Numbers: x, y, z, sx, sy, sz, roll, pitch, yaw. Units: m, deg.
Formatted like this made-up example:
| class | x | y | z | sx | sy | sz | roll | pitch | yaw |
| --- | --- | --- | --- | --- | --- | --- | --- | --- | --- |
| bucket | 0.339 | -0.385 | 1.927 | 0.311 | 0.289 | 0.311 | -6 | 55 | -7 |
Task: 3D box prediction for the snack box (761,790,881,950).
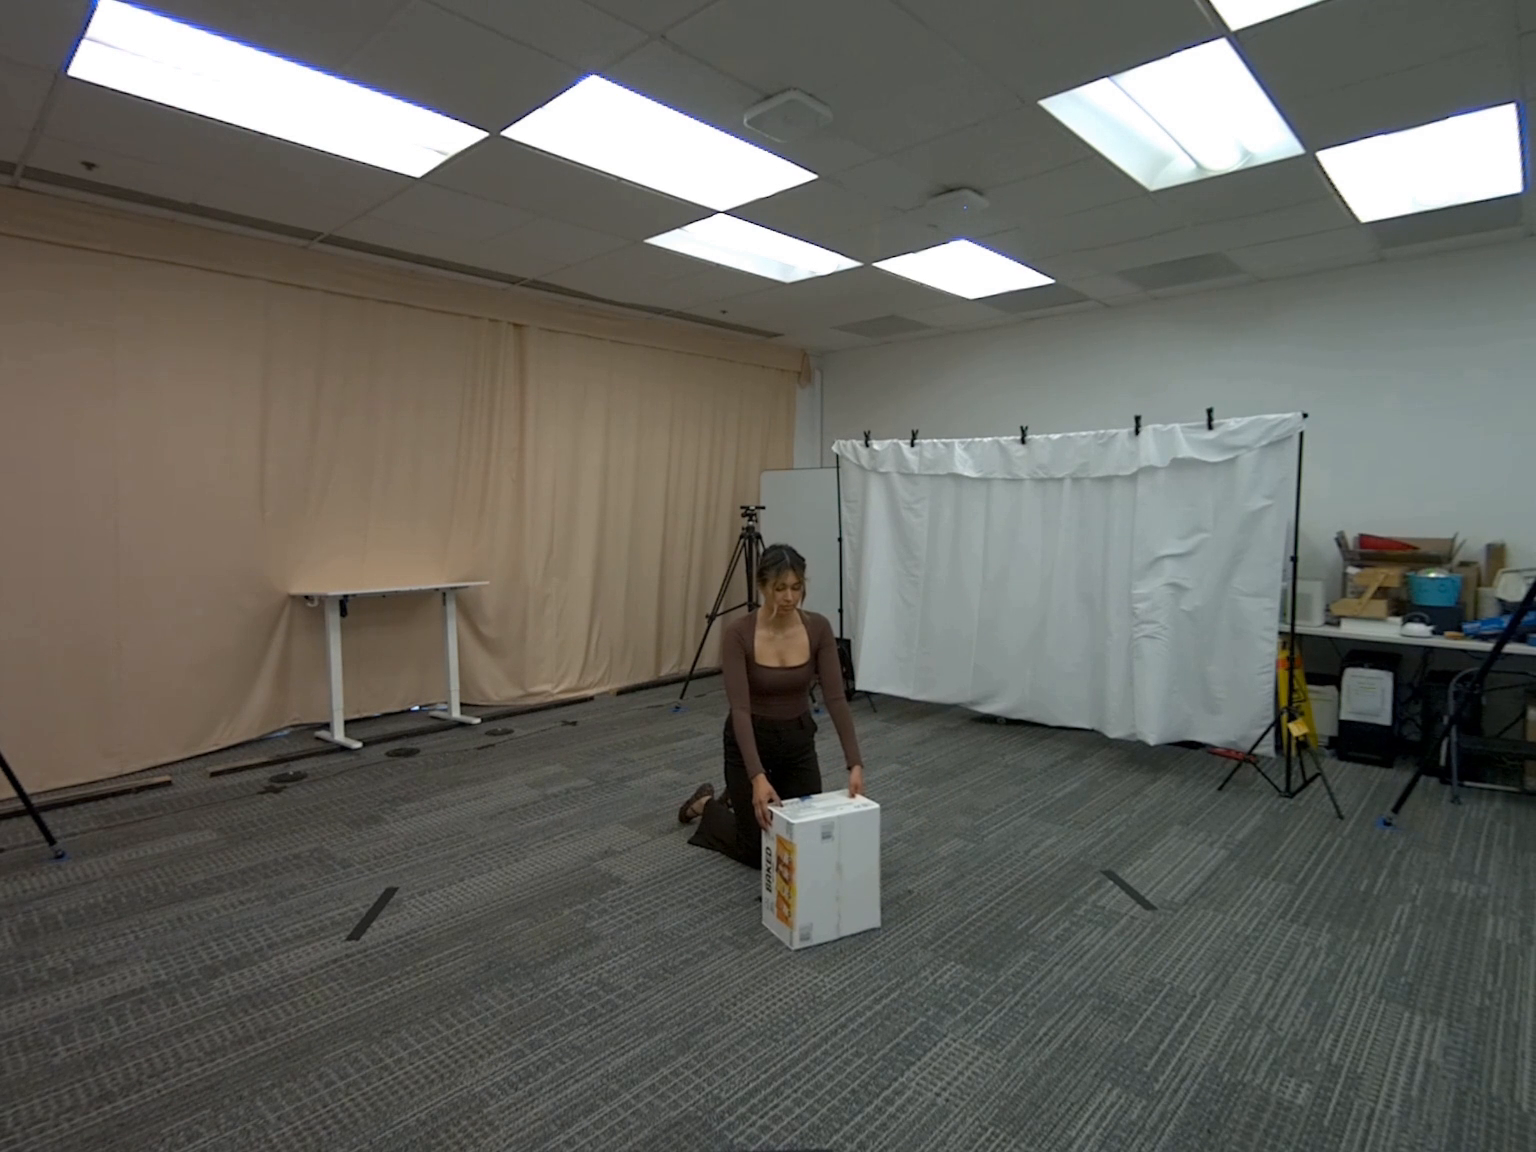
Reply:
| class | x | y | z | sx | sy | sz | roll | pitch | yaw |
| --- | --- | --- | --- | --- | --- | --- | --- | --- | --- |
| snack box | 0.176 | 0.954 | 2.788 | 0.332 | 0.404 | 0.211 | -2 | 3 | -28 |
